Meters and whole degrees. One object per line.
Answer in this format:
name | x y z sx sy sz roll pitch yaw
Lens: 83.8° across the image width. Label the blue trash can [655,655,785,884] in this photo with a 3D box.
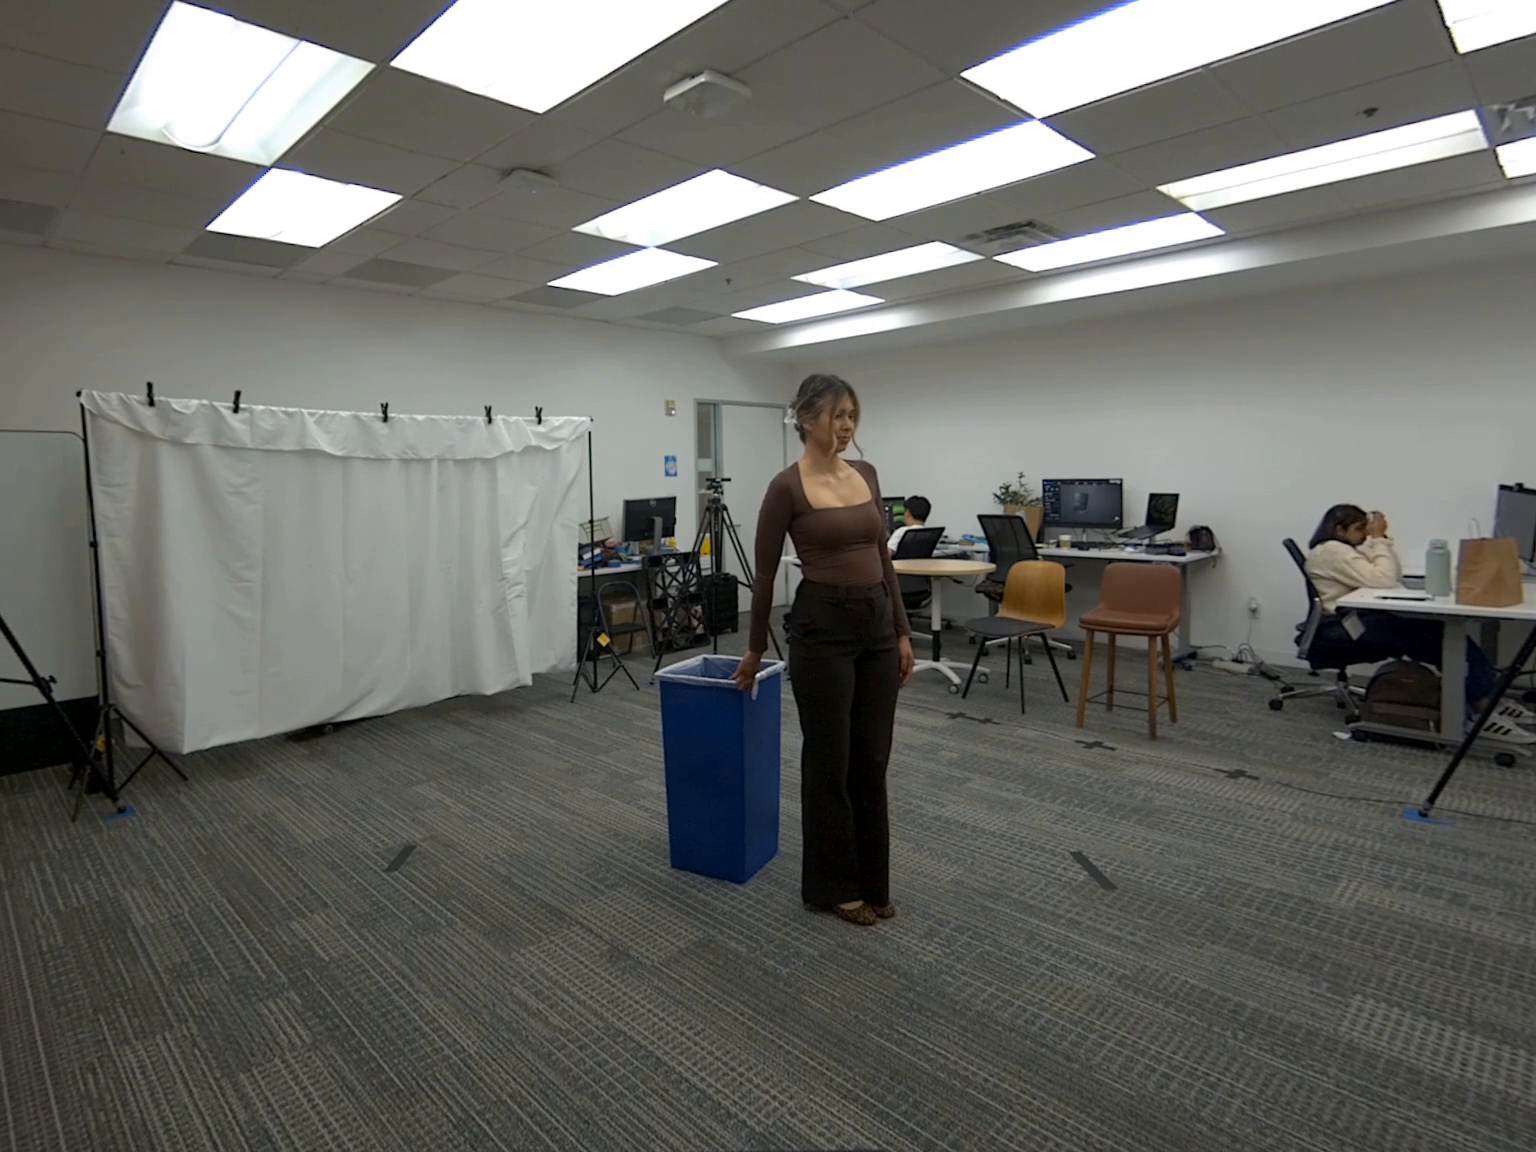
blue trash can | -0.157 0.683 3.116 0.387 0.712 0.366 1 3 26
